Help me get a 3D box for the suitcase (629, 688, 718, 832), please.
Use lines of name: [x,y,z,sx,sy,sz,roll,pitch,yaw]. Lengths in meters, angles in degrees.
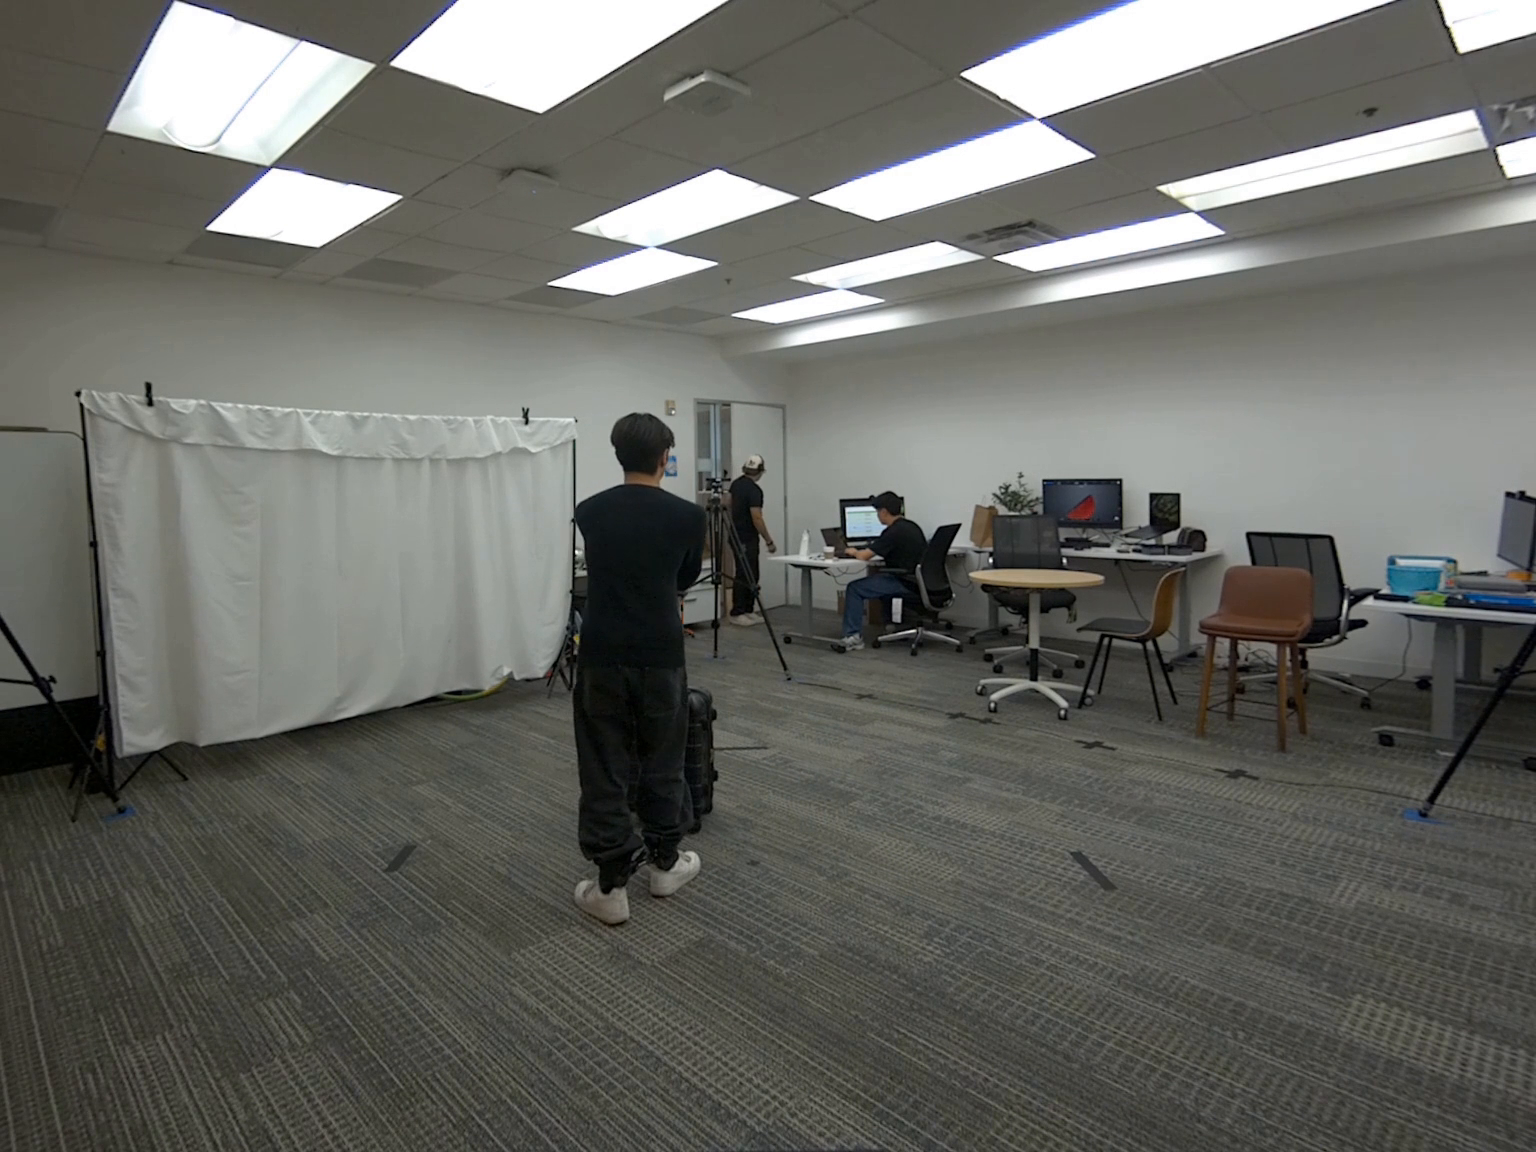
suitcase: [-0.408,0.529,3.520,0.389,0.980,0.254,1,-1,12]
